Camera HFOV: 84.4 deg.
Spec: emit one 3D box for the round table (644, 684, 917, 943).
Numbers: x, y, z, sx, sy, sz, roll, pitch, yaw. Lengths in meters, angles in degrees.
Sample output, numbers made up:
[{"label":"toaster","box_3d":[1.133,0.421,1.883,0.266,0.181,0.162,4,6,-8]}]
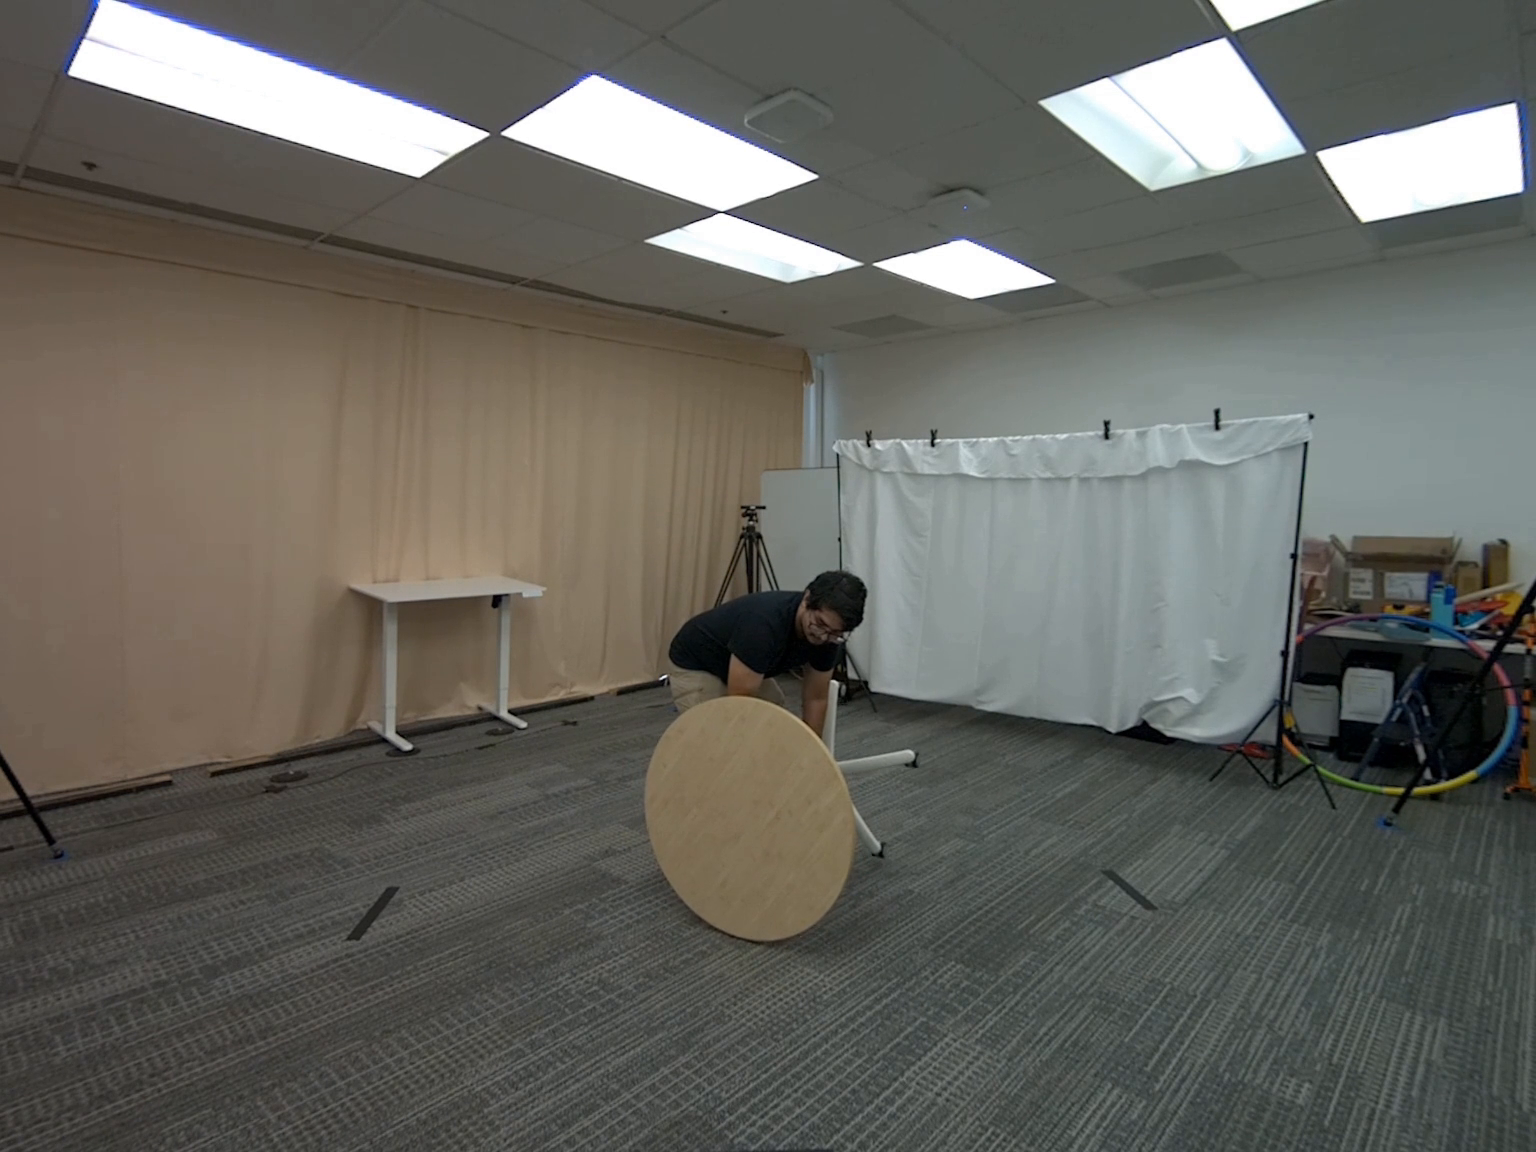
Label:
[{"label":"round table","box_3d":[0.103,0.761,3.041,0.808,0.784,0.765,2,2,29]}]
